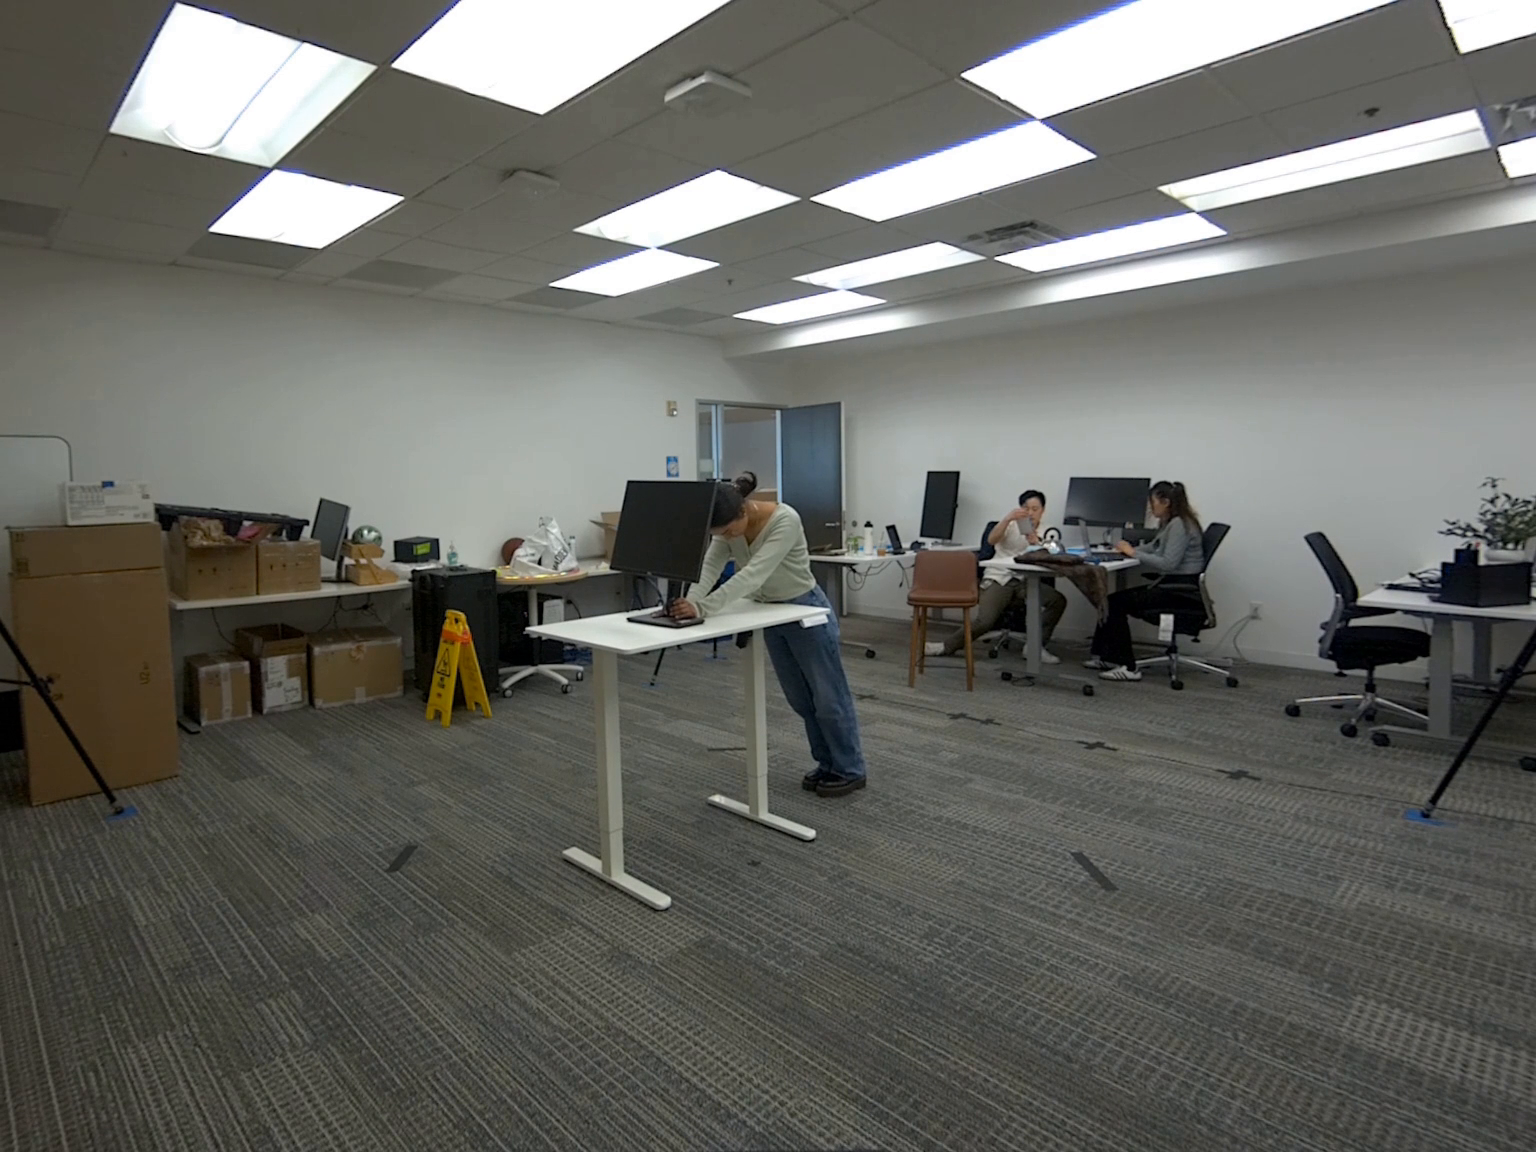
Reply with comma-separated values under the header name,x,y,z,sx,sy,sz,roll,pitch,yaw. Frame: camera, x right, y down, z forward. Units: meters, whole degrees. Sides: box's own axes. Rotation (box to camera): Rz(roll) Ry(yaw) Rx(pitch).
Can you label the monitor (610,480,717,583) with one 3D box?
name,x,y,z,sx,sy,sz,roll,pitch,yaw
monitor,-0.365,-0.086,3.107,0.182,0.521,0.556,-2,6,-44
